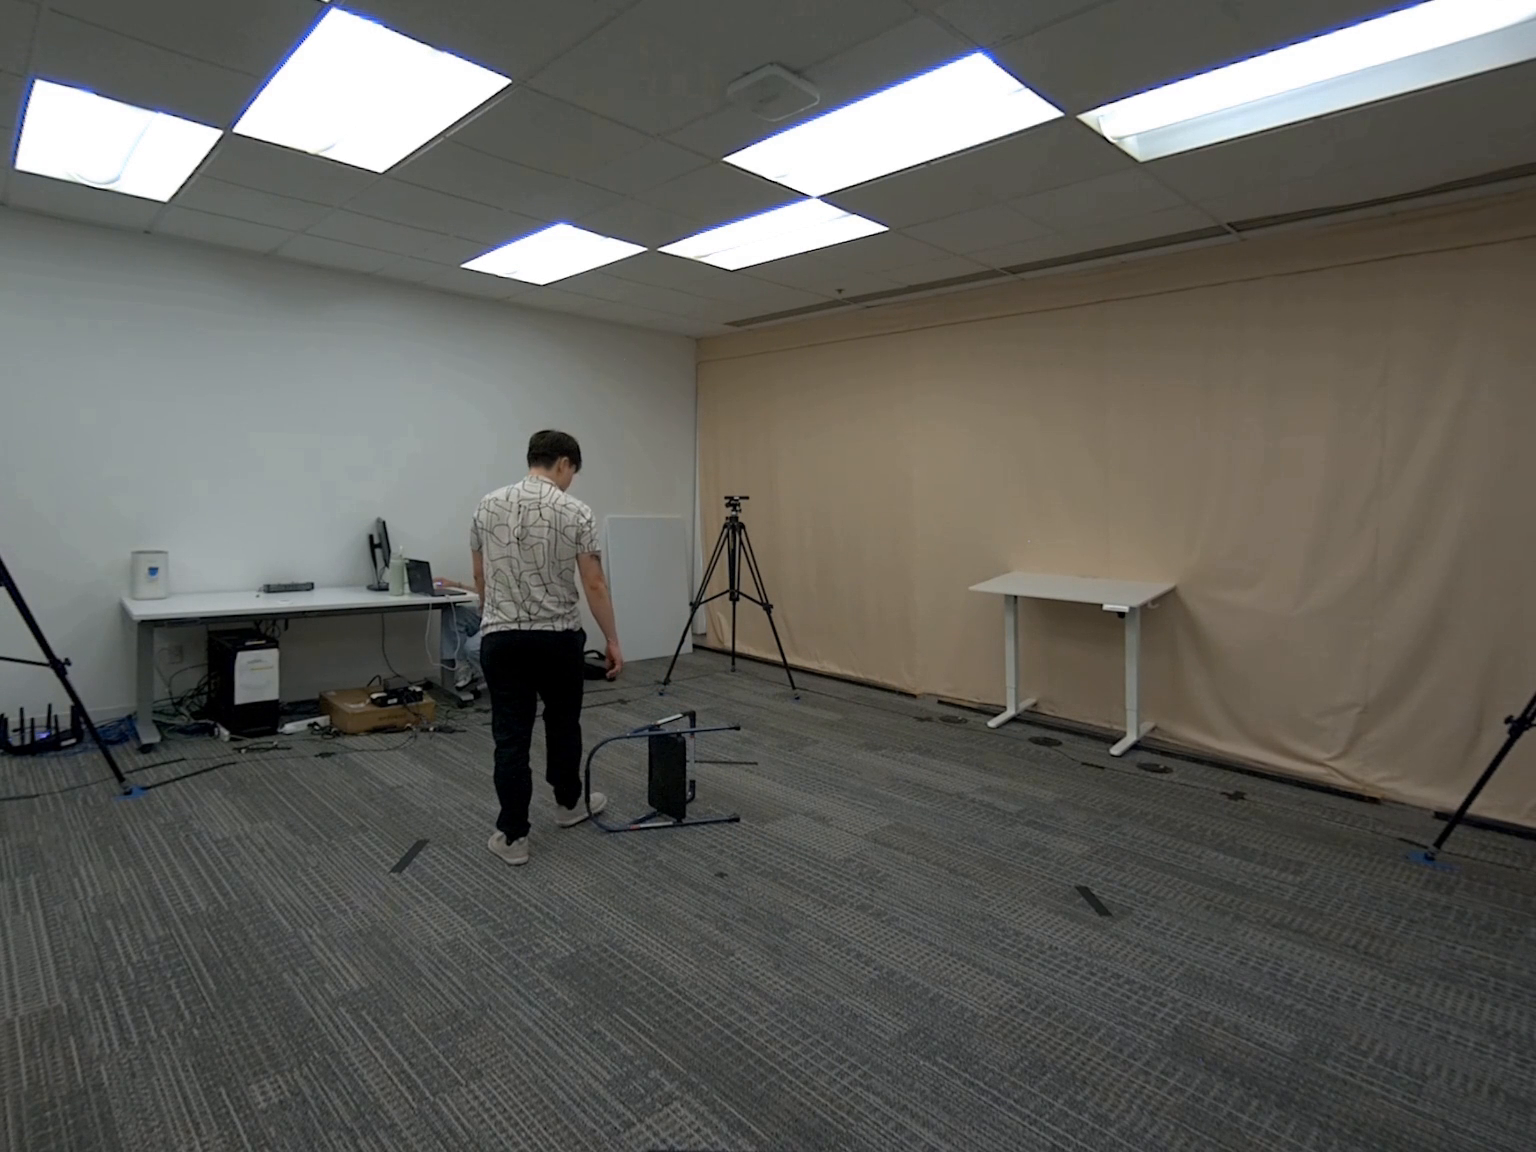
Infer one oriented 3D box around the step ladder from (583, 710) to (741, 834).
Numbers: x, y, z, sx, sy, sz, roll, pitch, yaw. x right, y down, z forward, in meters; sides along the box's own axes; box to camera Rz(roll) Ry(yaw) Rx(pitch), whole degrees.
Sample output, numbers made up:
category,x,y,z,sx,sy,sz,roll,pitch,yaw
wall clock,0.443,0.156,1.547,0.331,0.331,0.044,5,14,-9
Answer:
category,x,y,z,sx,sy,sz,roll,pitch,yaw
step ladder,-0.474,0.848,3.563,0.592,0.430,0.358,-2,4,-39
